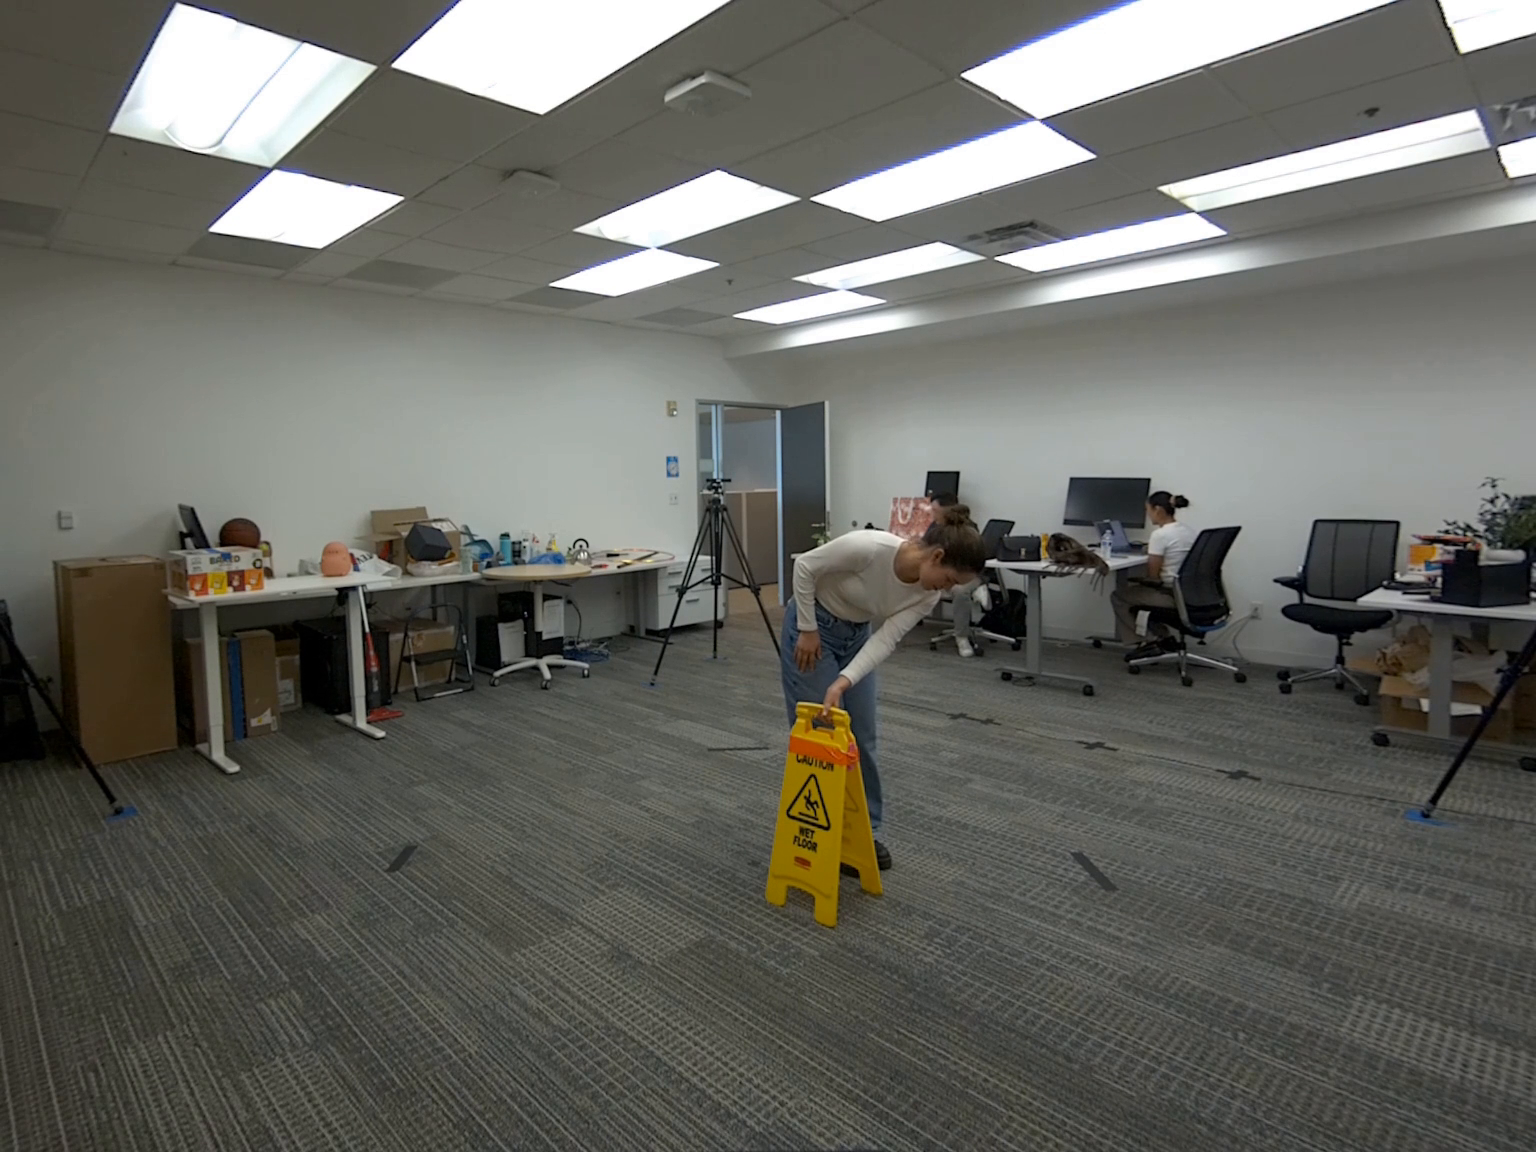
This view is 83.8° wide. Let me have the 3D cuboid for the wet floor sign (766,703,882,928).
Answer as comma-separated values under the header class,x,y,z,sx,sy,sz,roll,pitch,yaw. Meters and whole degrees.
class,x,y,z,sx,sy,sz,roll,pitch,yaw
wet floor sign,0.182,0.752,2.822,0.291,0.644,0.282,2,5,41
